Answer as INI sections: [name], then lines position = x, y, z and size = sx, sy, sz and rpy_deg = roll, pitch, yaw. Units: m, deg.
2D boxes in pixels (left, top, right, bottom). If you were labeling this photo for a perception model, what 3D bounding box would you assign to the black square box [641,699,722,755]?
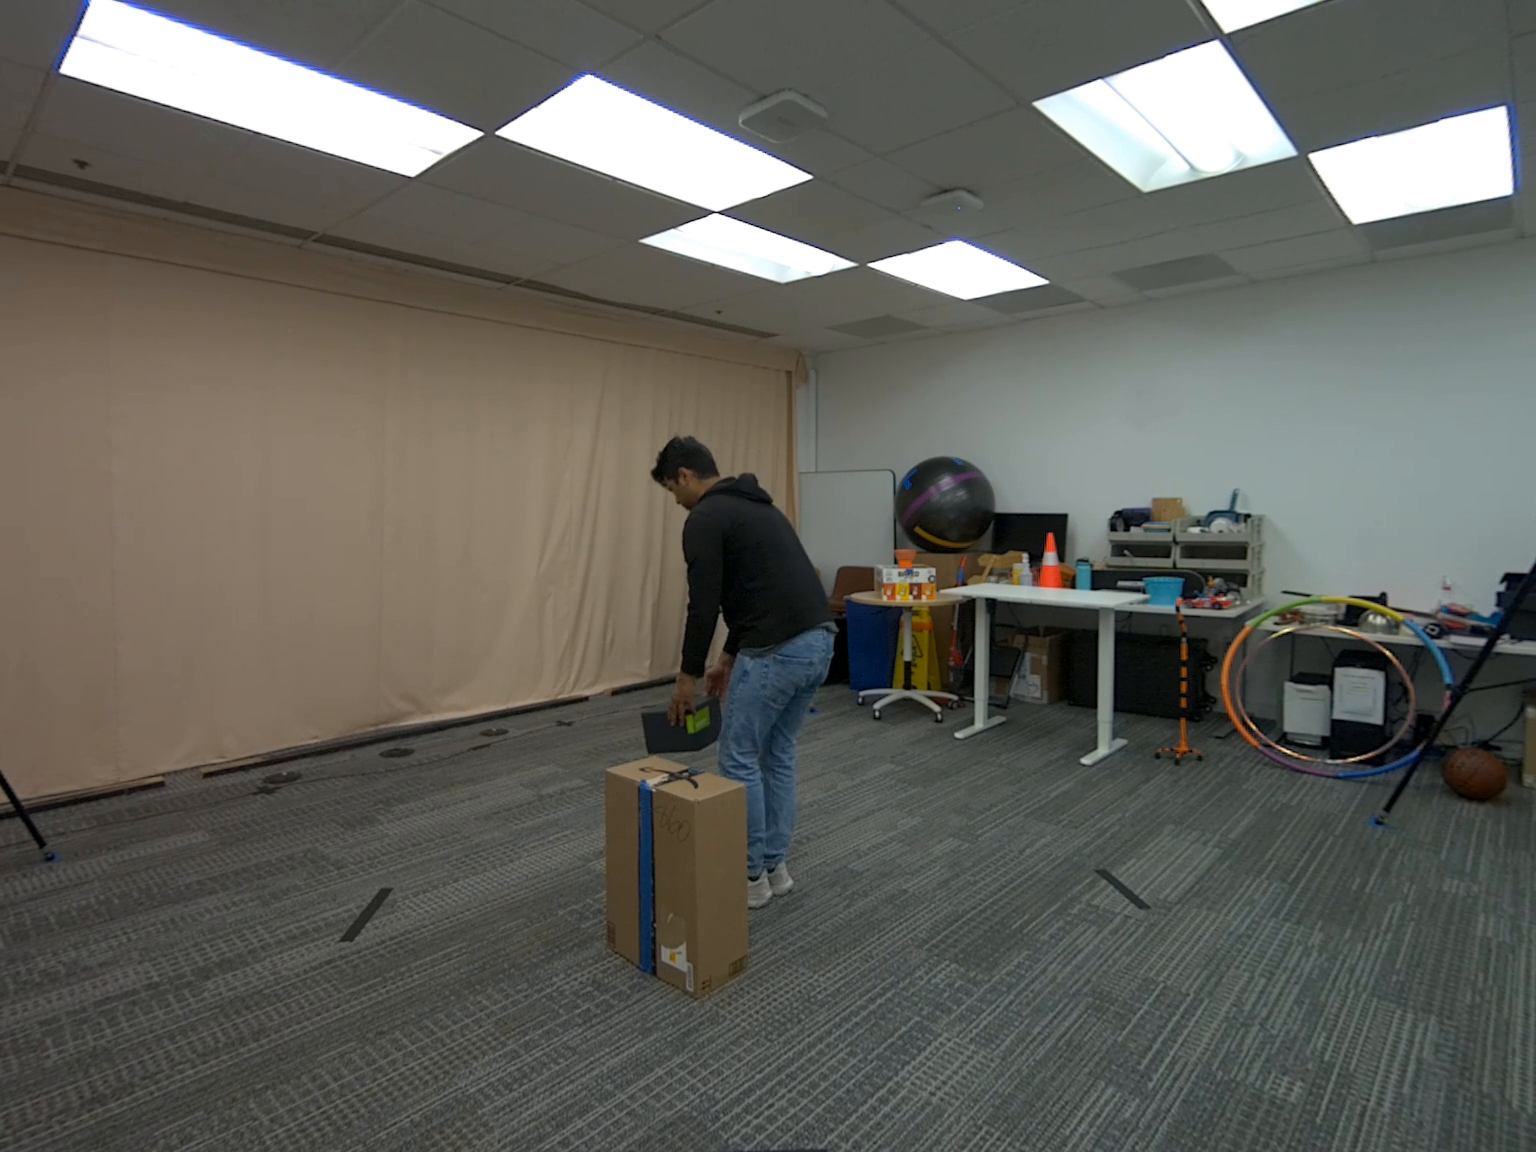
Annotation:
[black square box]
position = -0.318, 0.569, 3.147
size = 0.222, 0.156, 0.223
rpy_deg = -8, 2, 24
